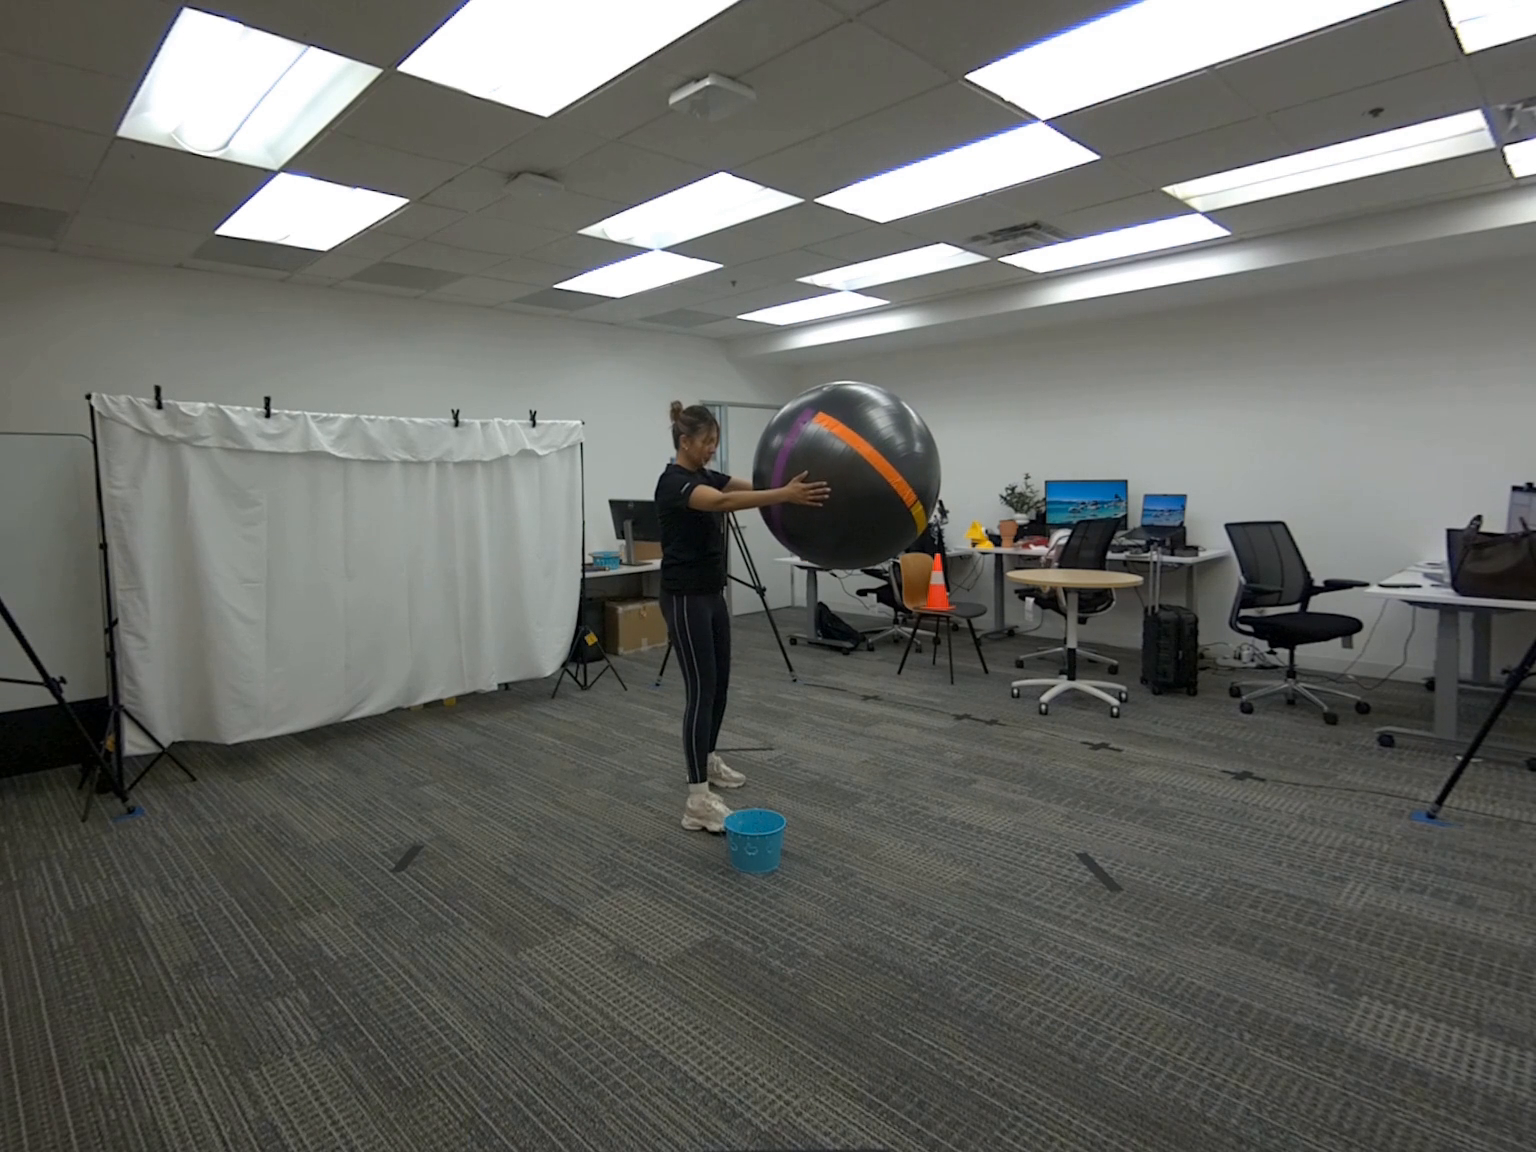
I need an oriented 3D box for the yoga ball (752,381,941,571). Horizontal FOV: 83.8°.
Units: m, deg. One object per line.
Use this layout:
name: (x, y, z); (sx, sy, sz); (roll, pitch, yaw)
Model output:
yoga ball: (0.311, -0.396, 3.471); (0.757, 0.755, 0.762); (-1, 5, -2)
